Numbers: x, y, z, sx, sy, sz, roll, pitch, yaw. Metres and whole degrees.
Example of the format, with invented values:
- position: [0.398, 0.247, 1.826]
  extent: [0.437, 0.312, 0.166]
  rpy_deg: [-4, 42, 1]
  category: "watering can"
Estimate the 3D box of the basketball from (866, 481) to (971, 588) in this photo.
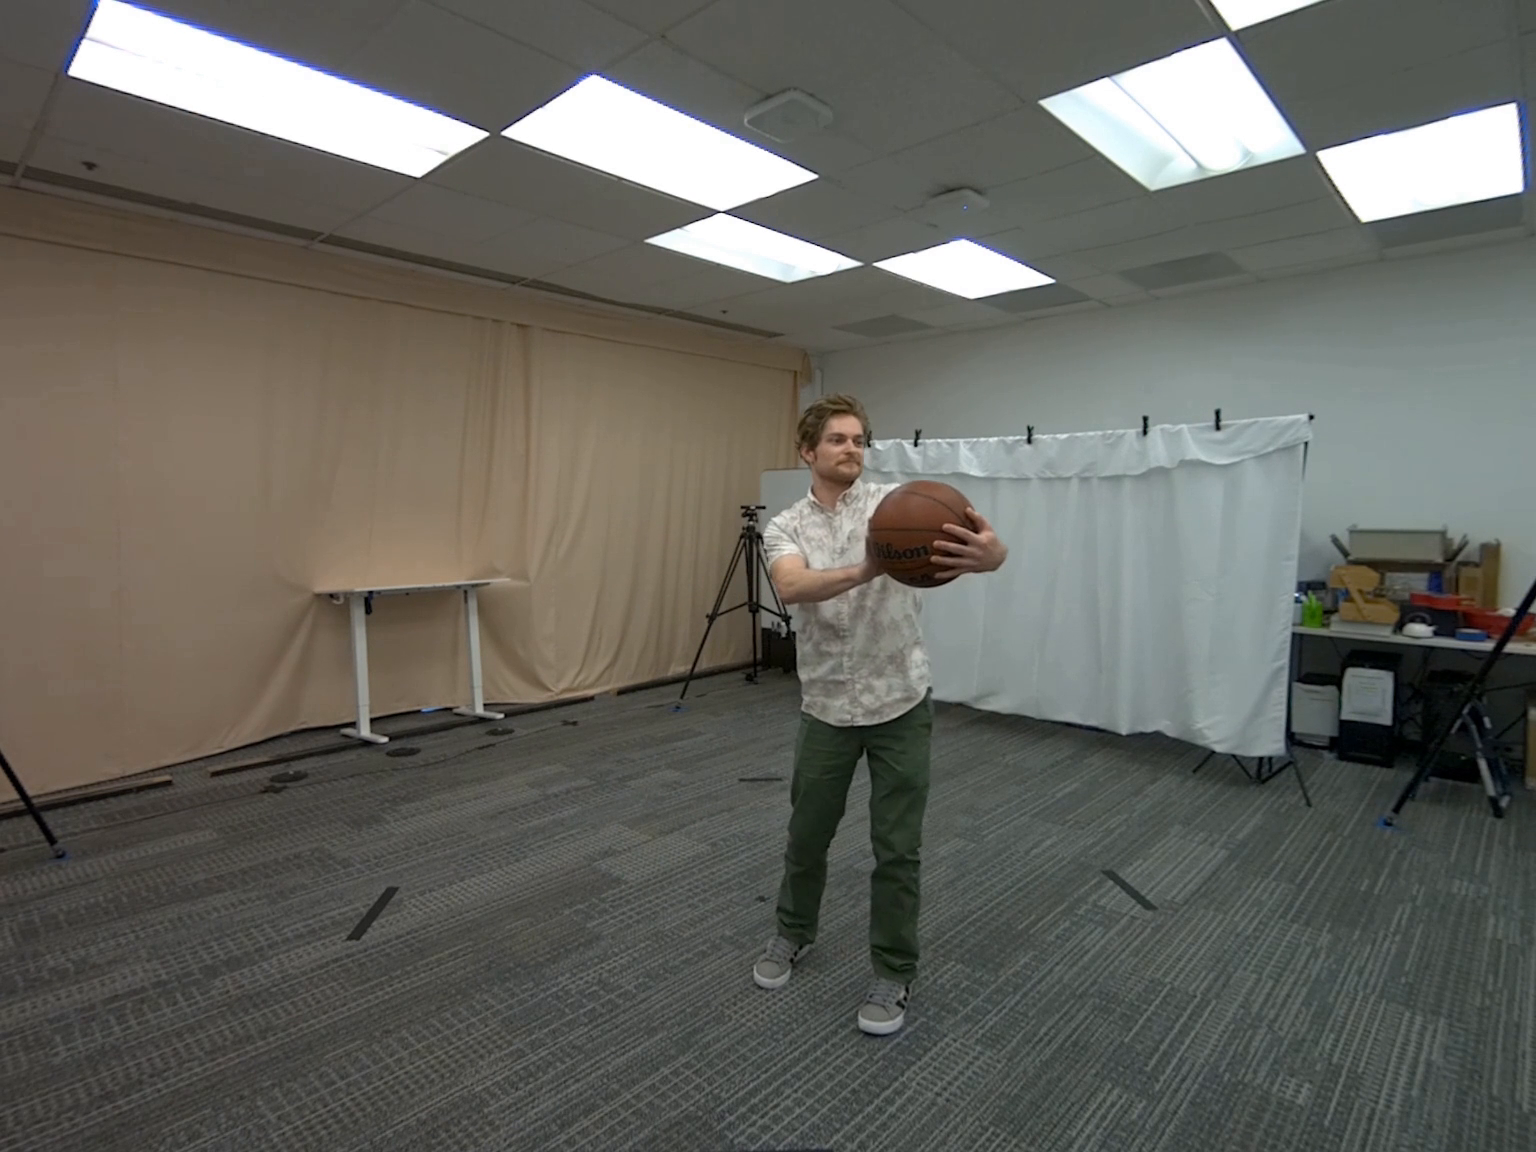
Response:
- position: [0.342, -0.091, 1.858]
  extent: [0.236, 0.235, 0.237]
  rpy_deg: [0, 4, -2]
  category: "basketball"
